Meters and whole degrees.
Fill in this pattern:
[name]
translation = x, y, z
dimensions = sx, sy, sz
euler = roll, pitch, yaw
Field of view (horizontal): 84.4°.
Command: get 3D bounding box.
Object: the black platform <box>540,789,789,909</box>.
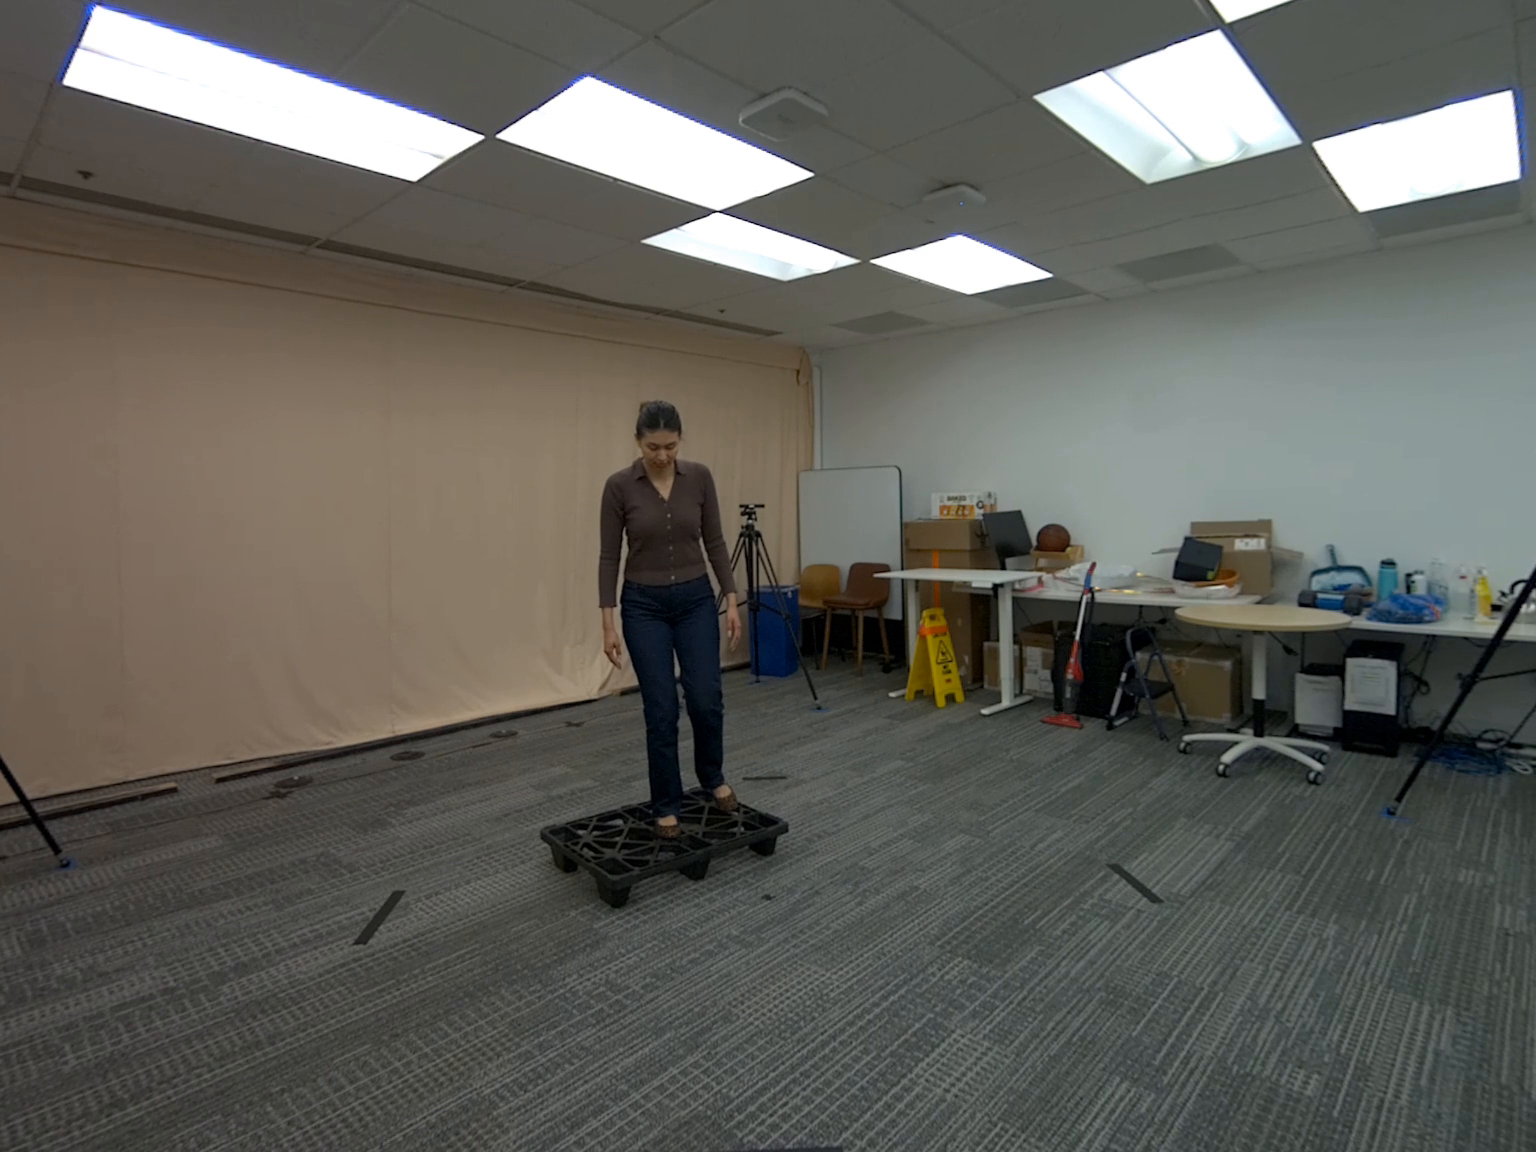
[black platform]
translation = -0.401, 1.053, 3.323
dimensions = 0.782, 0.143, 0.625
euler = -5, 7, -38
